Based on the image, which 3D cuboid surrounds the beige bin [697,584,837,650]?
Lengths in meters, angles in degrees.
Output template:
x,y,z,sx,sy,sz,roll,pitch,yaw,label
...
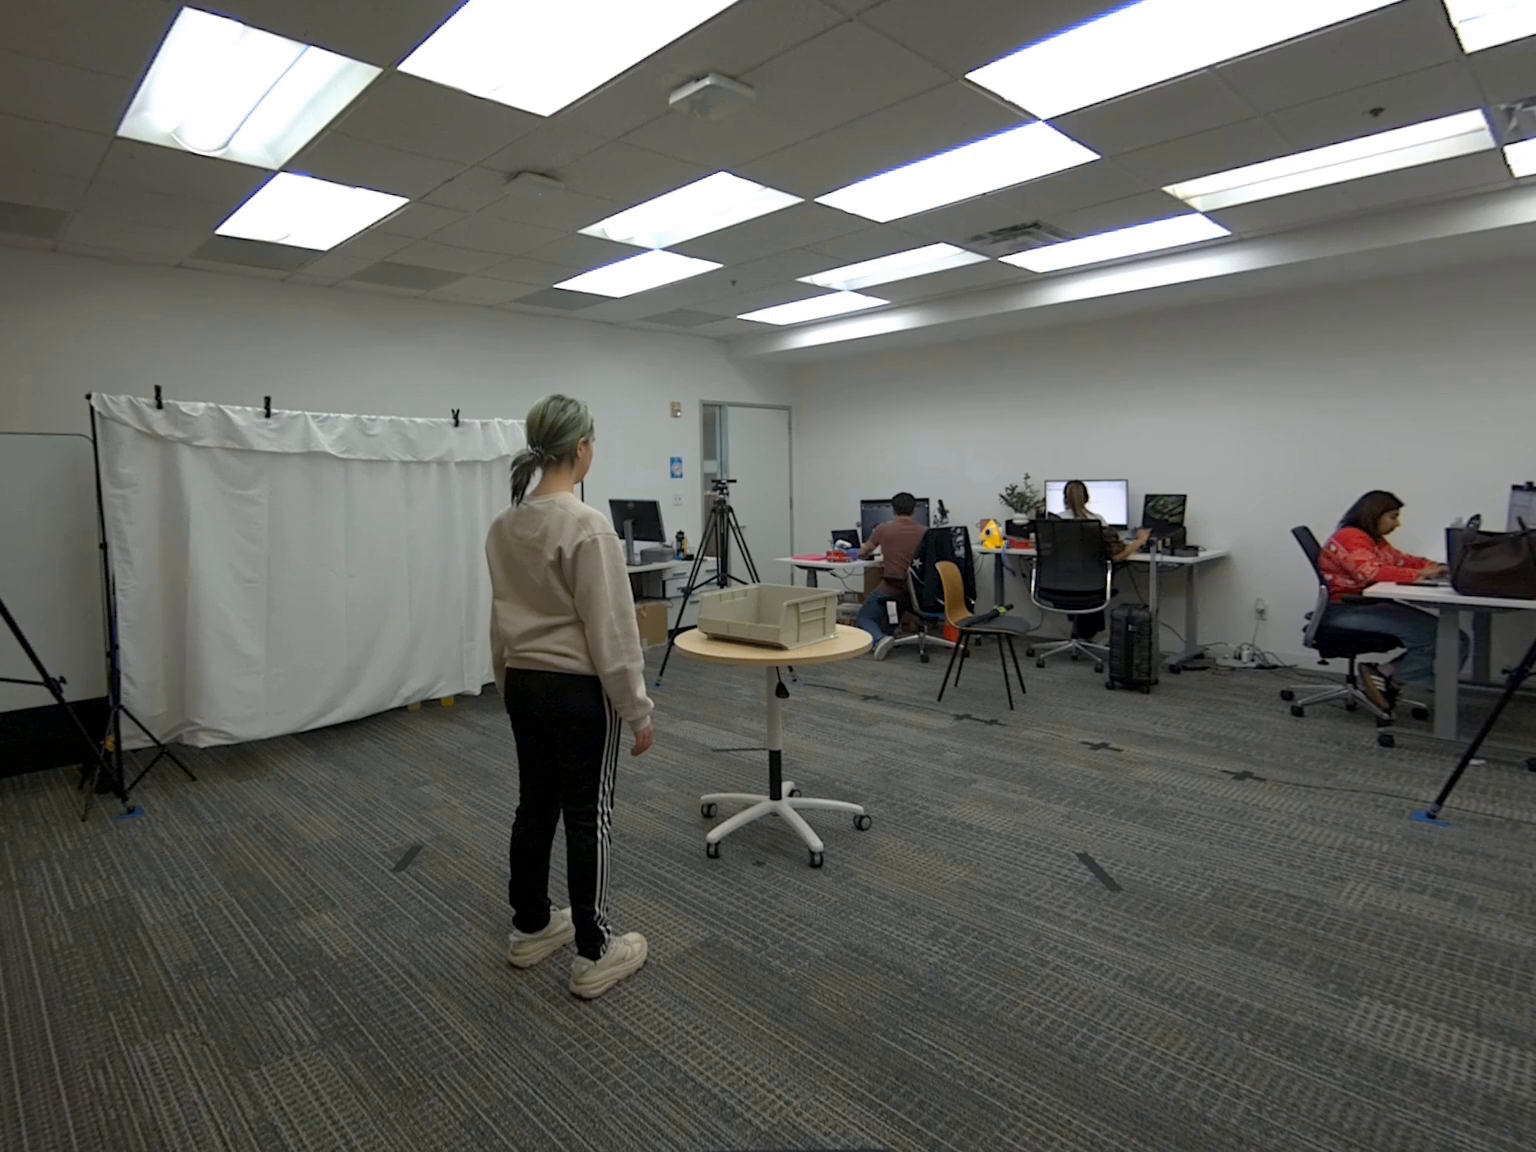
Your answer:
x,y,z,sx,sy,sz,roll,pitch,yaw,label
0.001,0.154,3.302,0.435,0.188,0.367,4,7,41,beige bin
